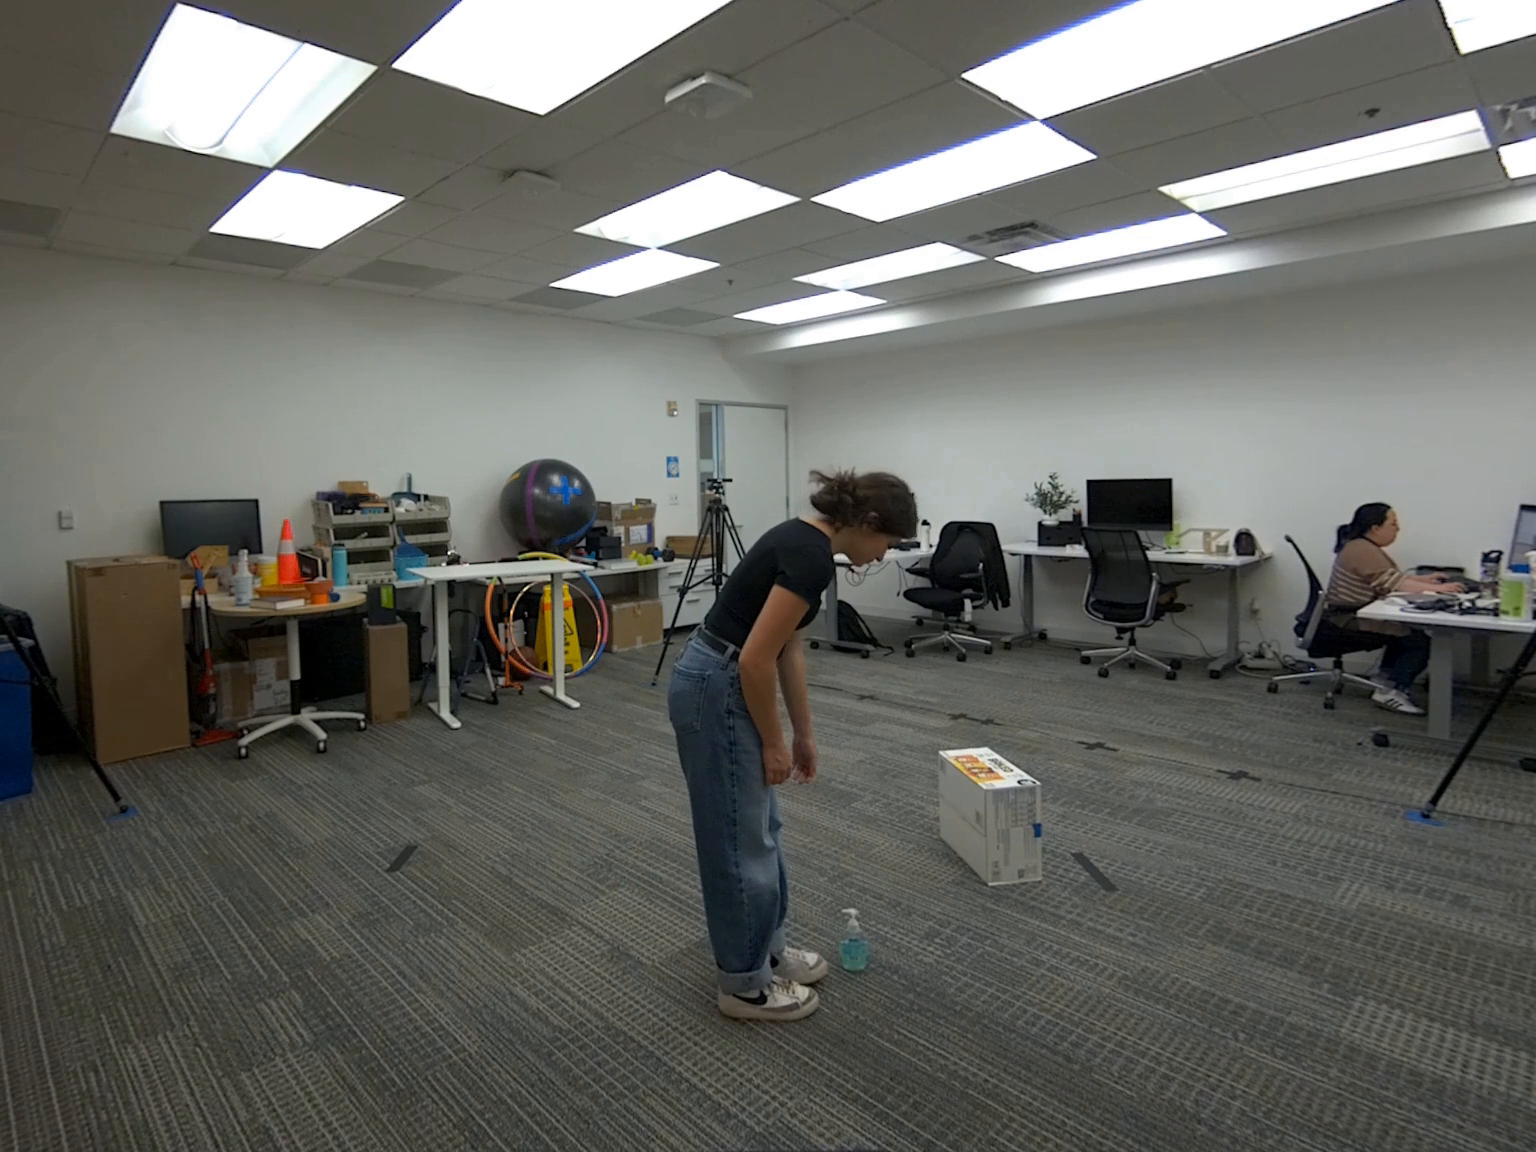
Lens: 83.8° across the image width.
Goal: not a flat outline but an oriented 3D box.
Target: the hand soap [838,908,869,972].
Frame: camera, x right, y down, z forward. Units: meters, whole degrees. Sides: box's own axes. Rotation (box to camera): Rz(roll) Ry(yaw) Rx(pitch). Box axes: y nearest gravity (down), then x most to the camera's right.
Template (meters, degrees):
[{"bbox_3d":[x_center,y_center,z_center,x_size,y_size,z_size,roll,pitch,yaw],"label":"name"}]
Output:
[{"bbox_3d":[0.252,1.041,2.433,0.085,0.168,0.043,-2,3,6],"label":"hand soap"}]
